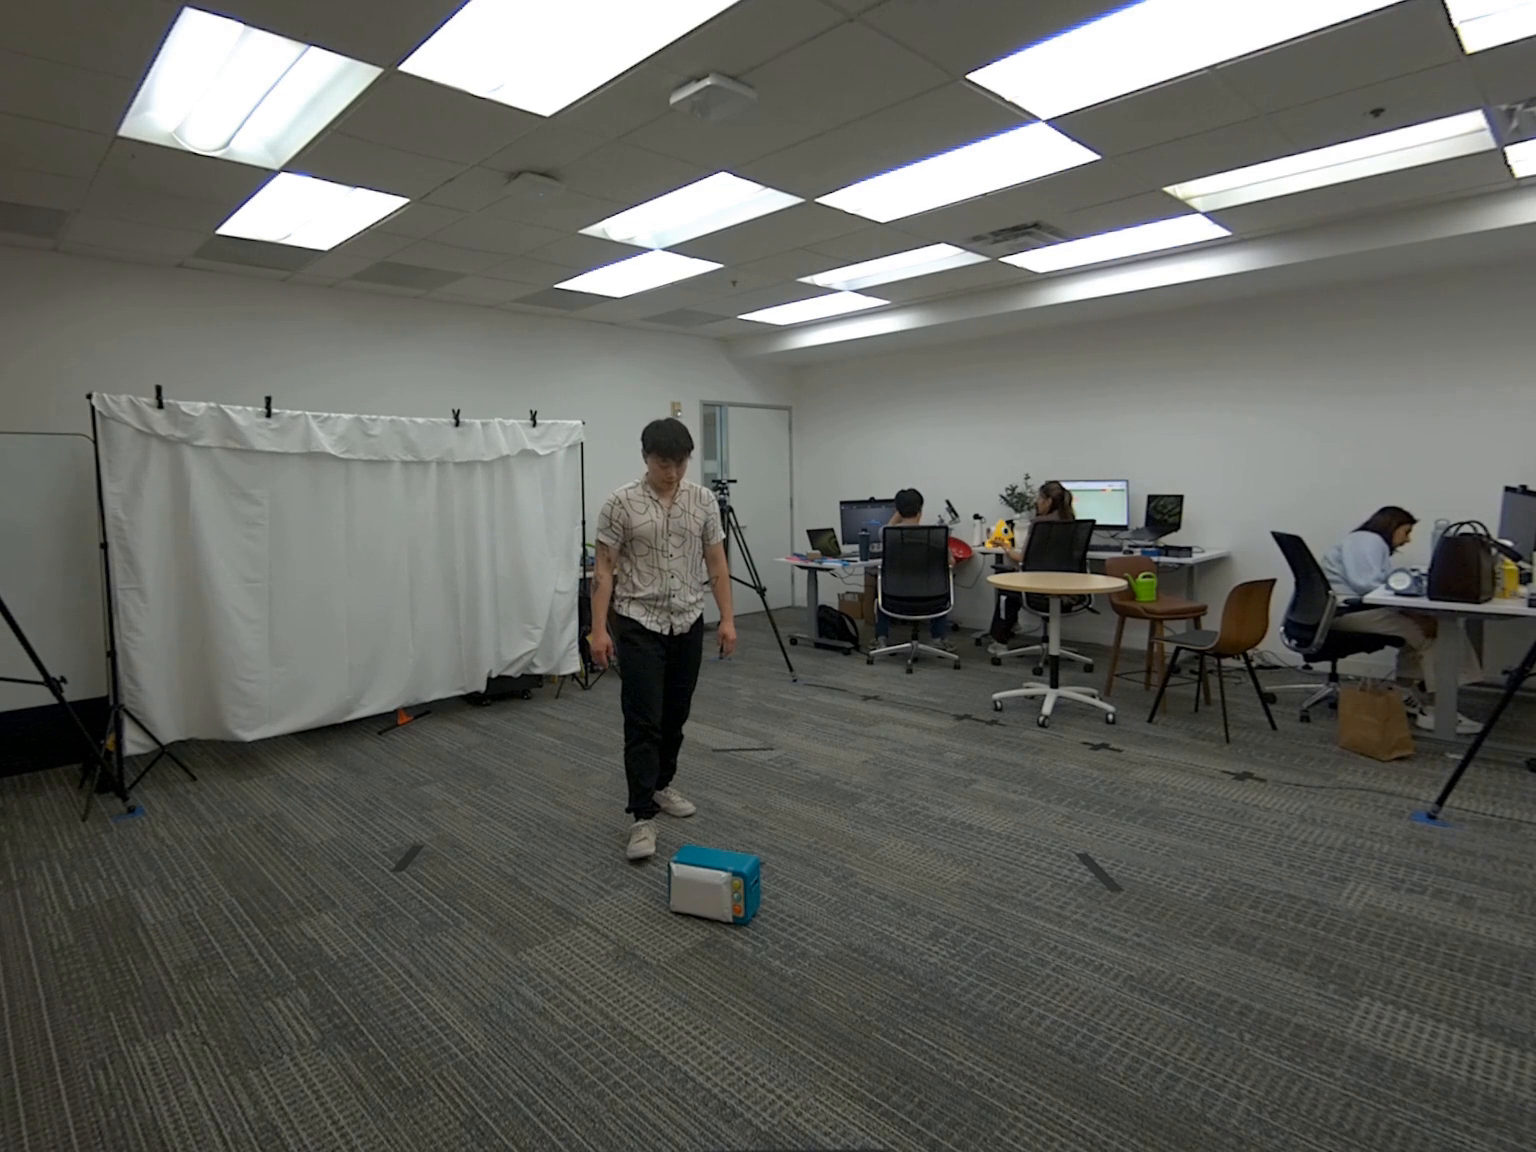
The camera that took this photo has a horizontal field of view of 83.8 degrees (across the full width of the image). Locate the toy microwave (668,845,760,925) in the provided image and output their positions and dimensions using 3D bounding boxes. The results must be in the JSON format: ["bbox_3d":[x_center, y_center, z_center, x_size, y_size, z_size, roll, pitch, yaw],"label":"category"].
[{"bbox_3d":[-0.173,0.999,2.759,0.292,0.183,0.150,1,5,22],"label":"toy microwave"}]
